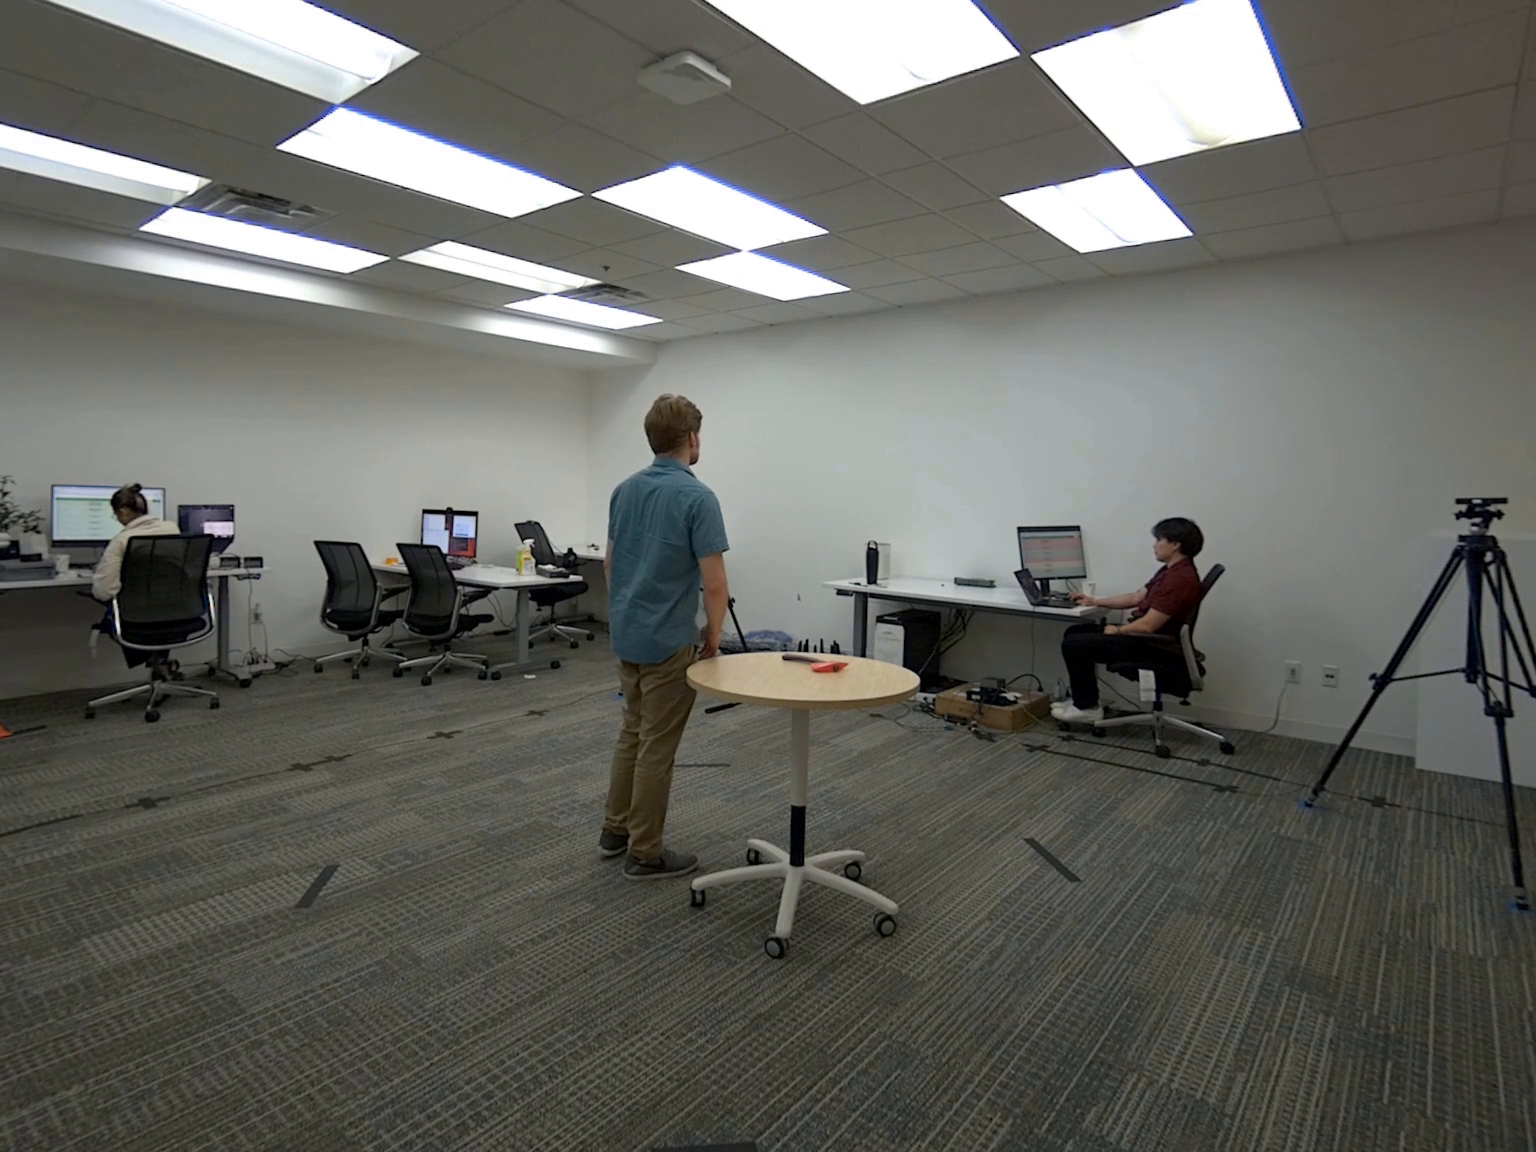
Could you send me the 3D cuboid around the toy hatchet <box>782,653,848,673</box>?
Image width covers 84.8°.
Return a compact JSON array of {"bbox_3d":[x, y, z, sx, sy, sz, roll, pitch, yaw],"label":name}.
[{"bbox_3d":[0.130,0.303,2.932,0.279,0.029,0.127,3,9,41],"label":"toy hatchet"}]
